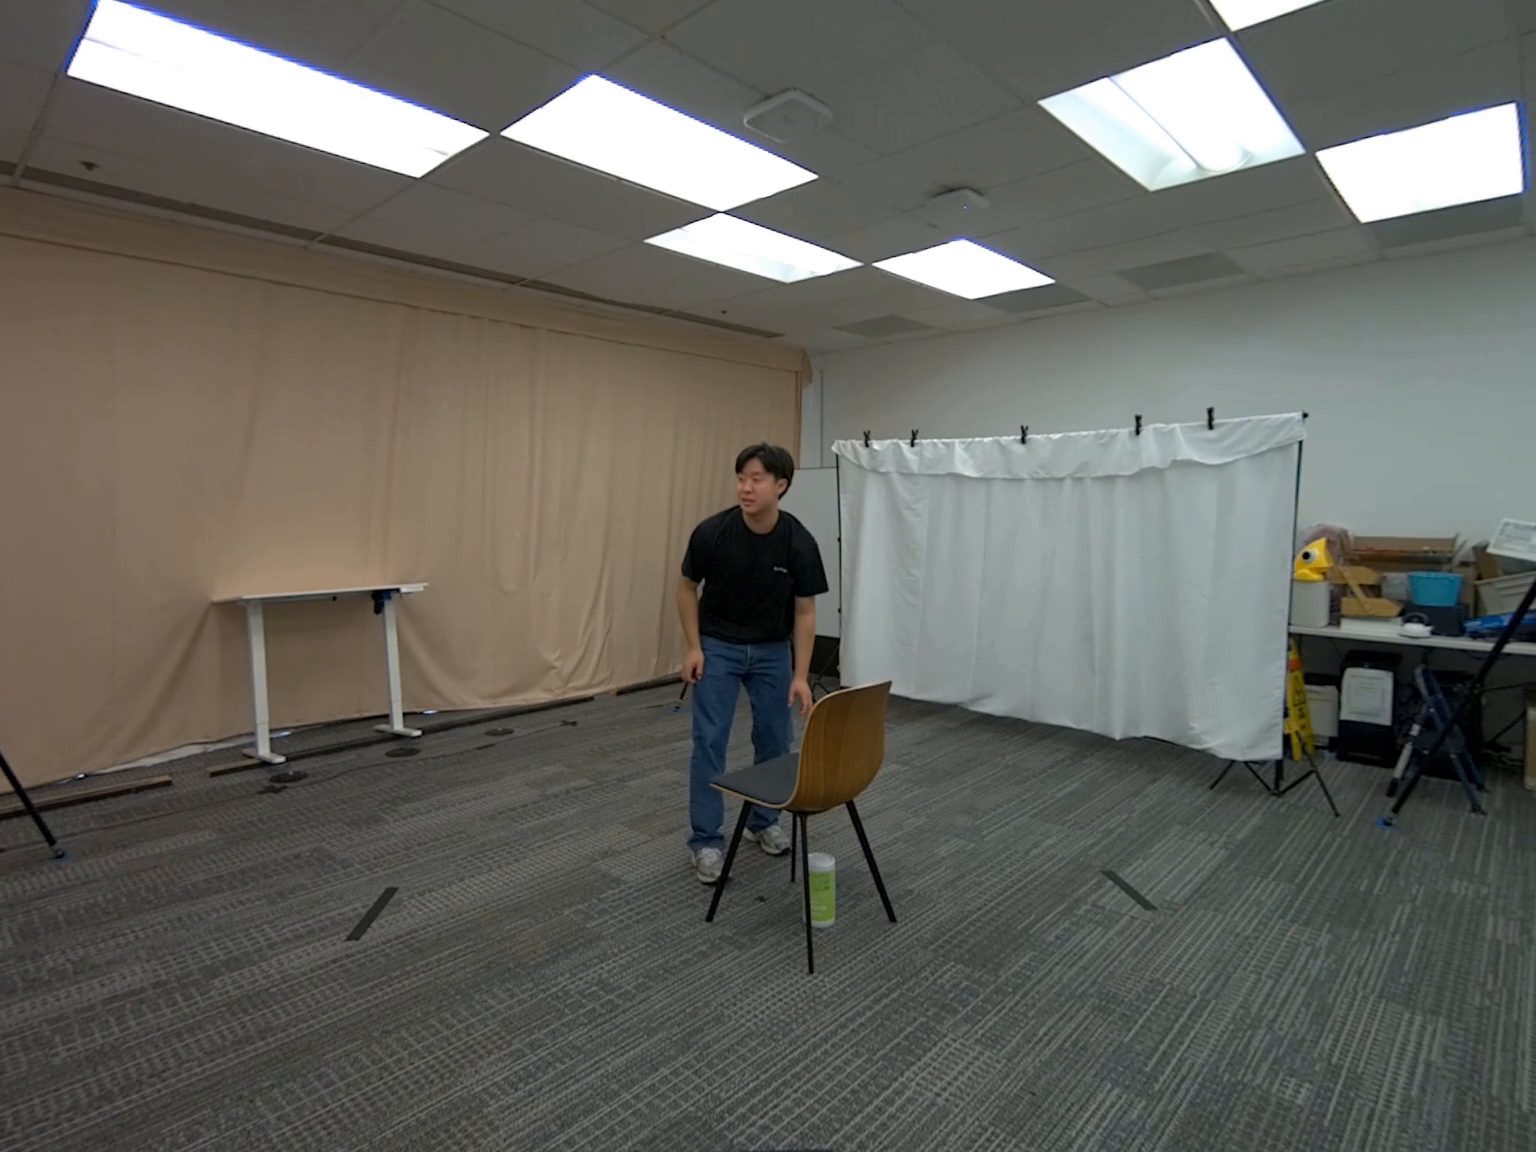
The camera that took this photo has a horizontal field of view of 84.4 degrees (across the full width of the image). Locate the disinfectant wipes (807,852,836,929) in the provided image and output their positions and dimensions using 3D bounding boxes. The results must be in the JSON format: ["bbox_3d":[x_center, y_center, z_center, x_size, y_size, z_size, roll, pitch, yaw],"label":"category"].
[{"bbox_3d":[0.180,1.050,2.819,0.118,0.217,0.118,0,4,-2],"label":"disinfectant wipes"}]
